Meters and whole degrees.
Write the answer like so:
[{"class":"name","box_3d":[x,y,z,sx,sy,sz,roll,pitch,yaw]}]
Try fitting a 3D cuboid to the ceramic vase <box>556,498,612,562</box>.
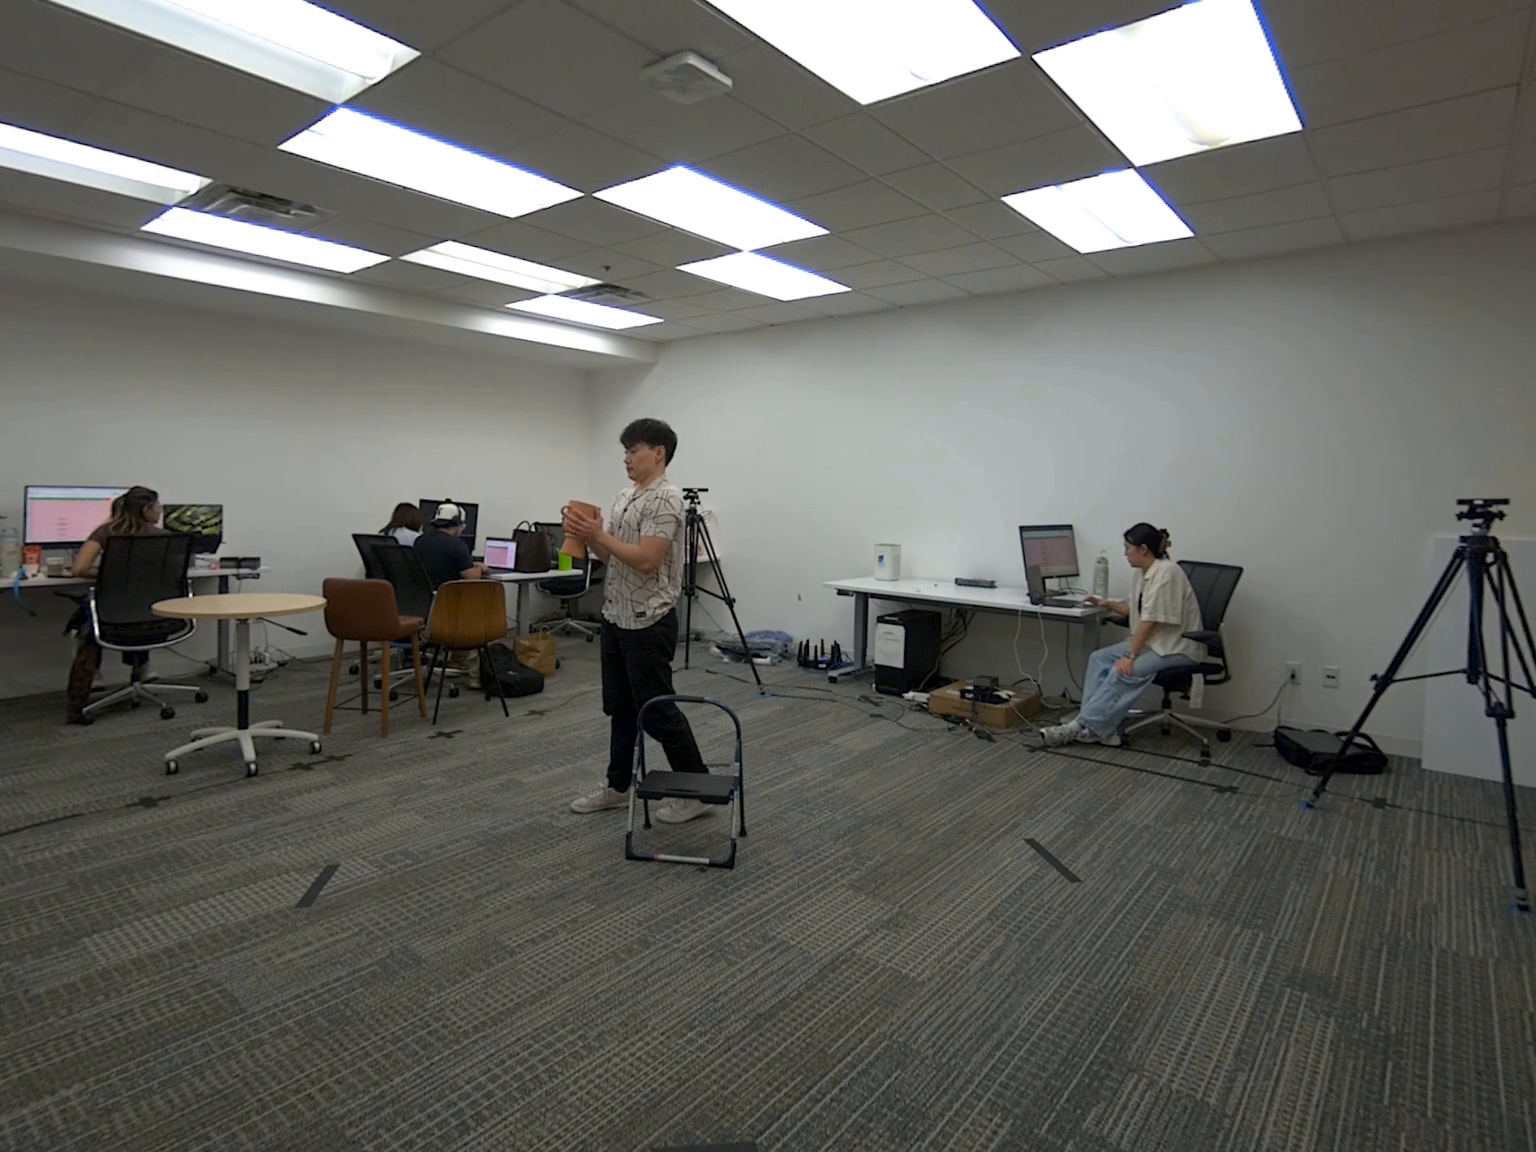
[{"class":"ceramic vase","box_3d":[-0.761,-0.190,3.472,0.159,0.220,0.134,13,-4,0]}]
